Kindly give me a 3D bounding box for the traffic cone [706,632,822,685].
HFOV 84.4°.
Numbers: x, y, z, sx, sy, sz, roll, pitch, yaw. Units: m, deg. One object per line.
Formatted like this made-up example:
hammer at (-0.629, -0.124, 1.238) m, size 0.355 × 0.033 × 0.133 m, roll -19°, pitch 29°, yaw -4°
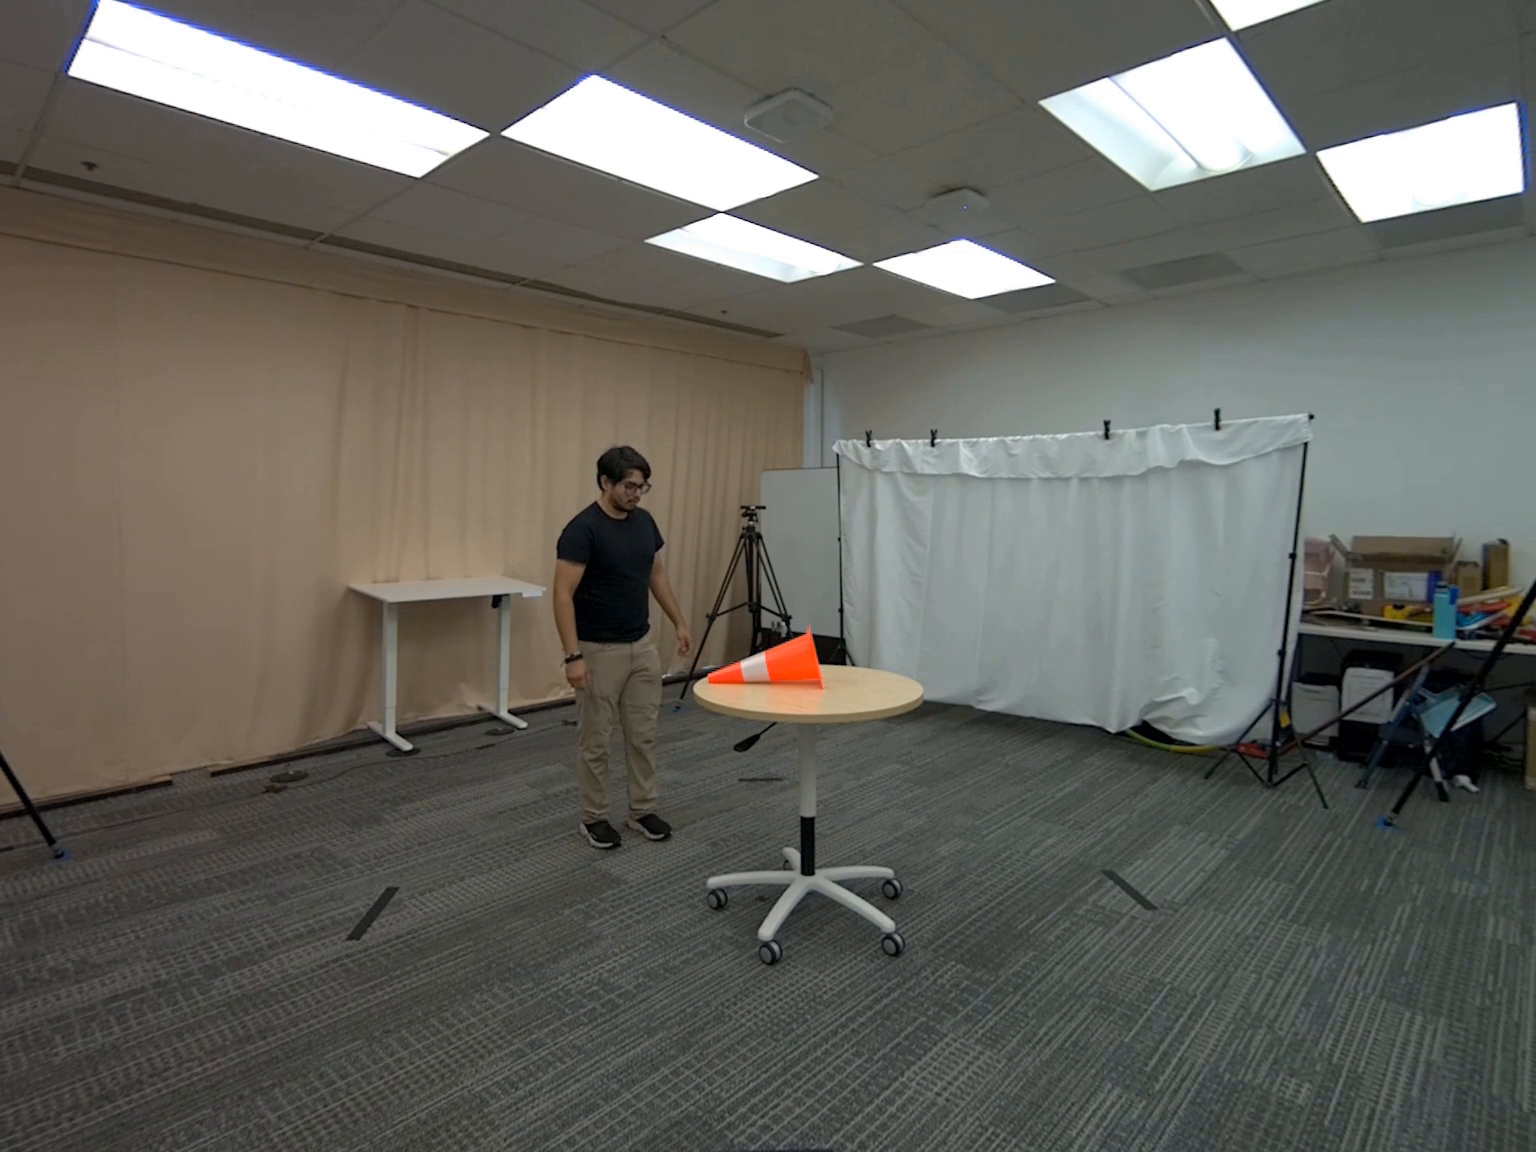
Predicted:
traffic cone at (-0.023, 0.327, 2.885) m, size 0.384 × 0.201 × 0.207 m, roll -15°, pitch 12°, yaw 2°
